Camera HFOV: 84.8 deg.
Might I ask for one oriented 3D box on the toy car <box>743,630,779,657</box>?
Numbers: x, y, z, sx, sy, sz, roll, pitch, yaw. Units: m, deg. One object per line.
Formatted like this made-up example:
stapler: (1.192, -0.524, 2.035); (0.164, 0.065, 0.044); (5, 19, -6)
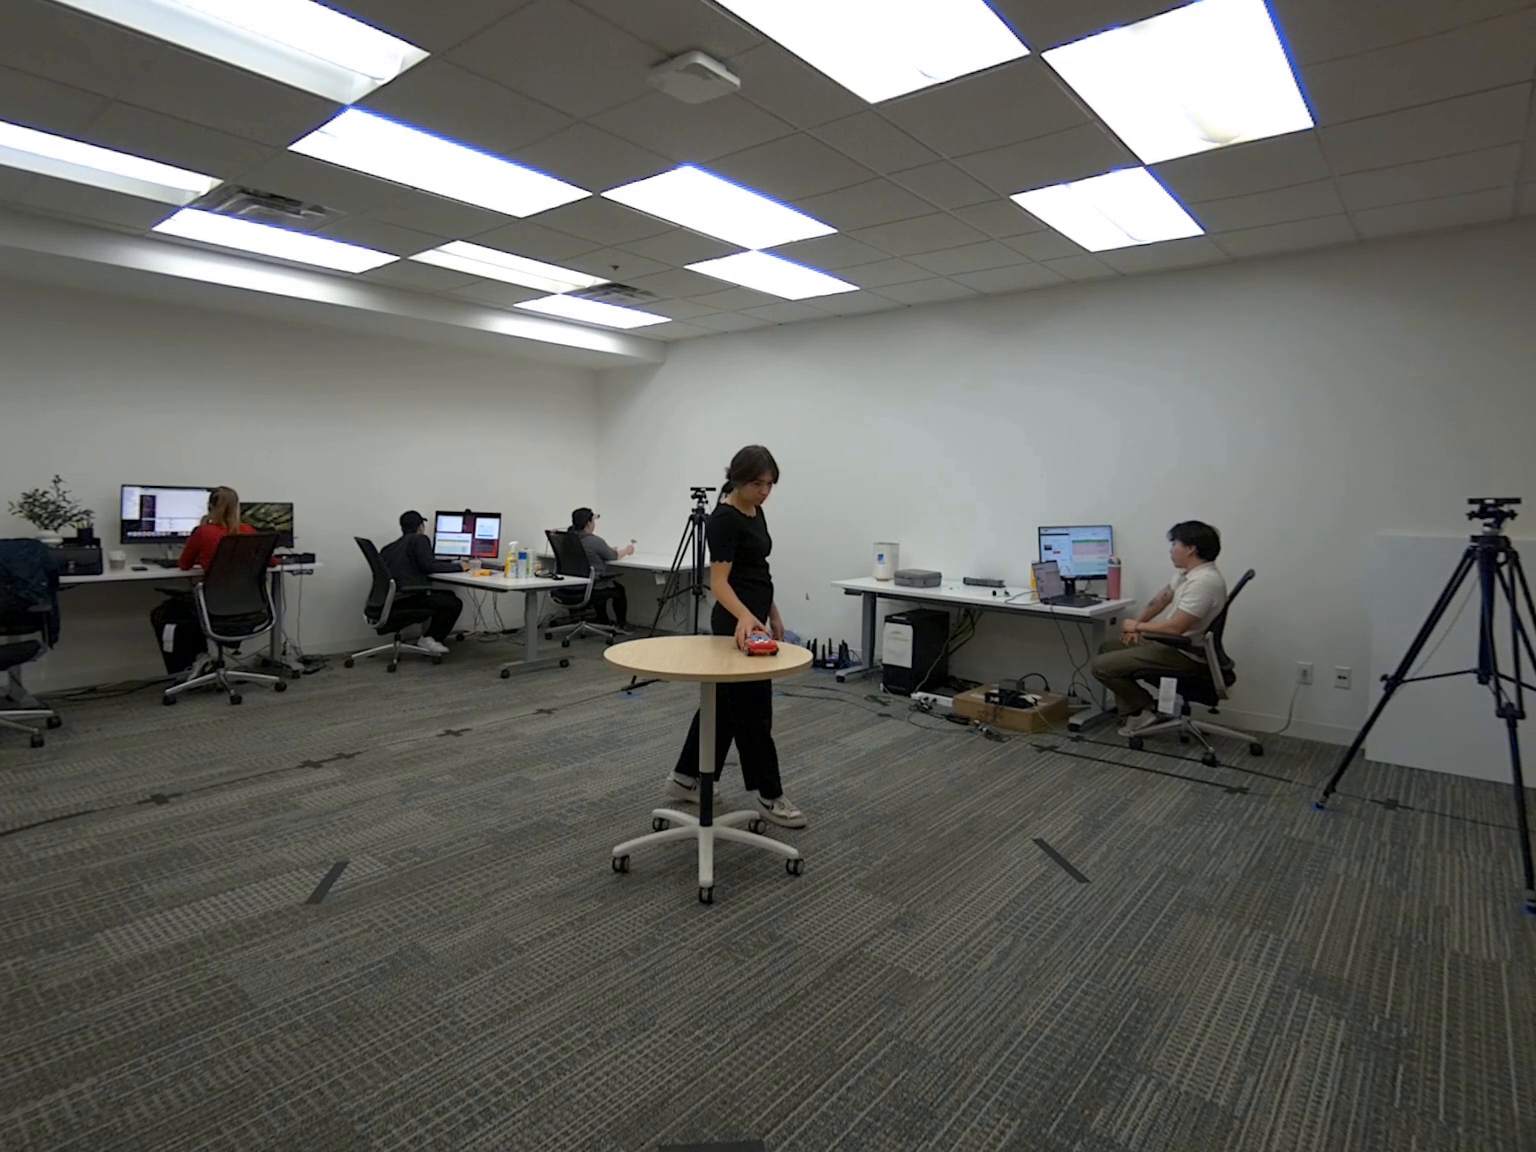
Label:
toy car: (-0.057, 0.244, 3.181); (0.129, 0.082, 0.260); (-2, 17, -9)
